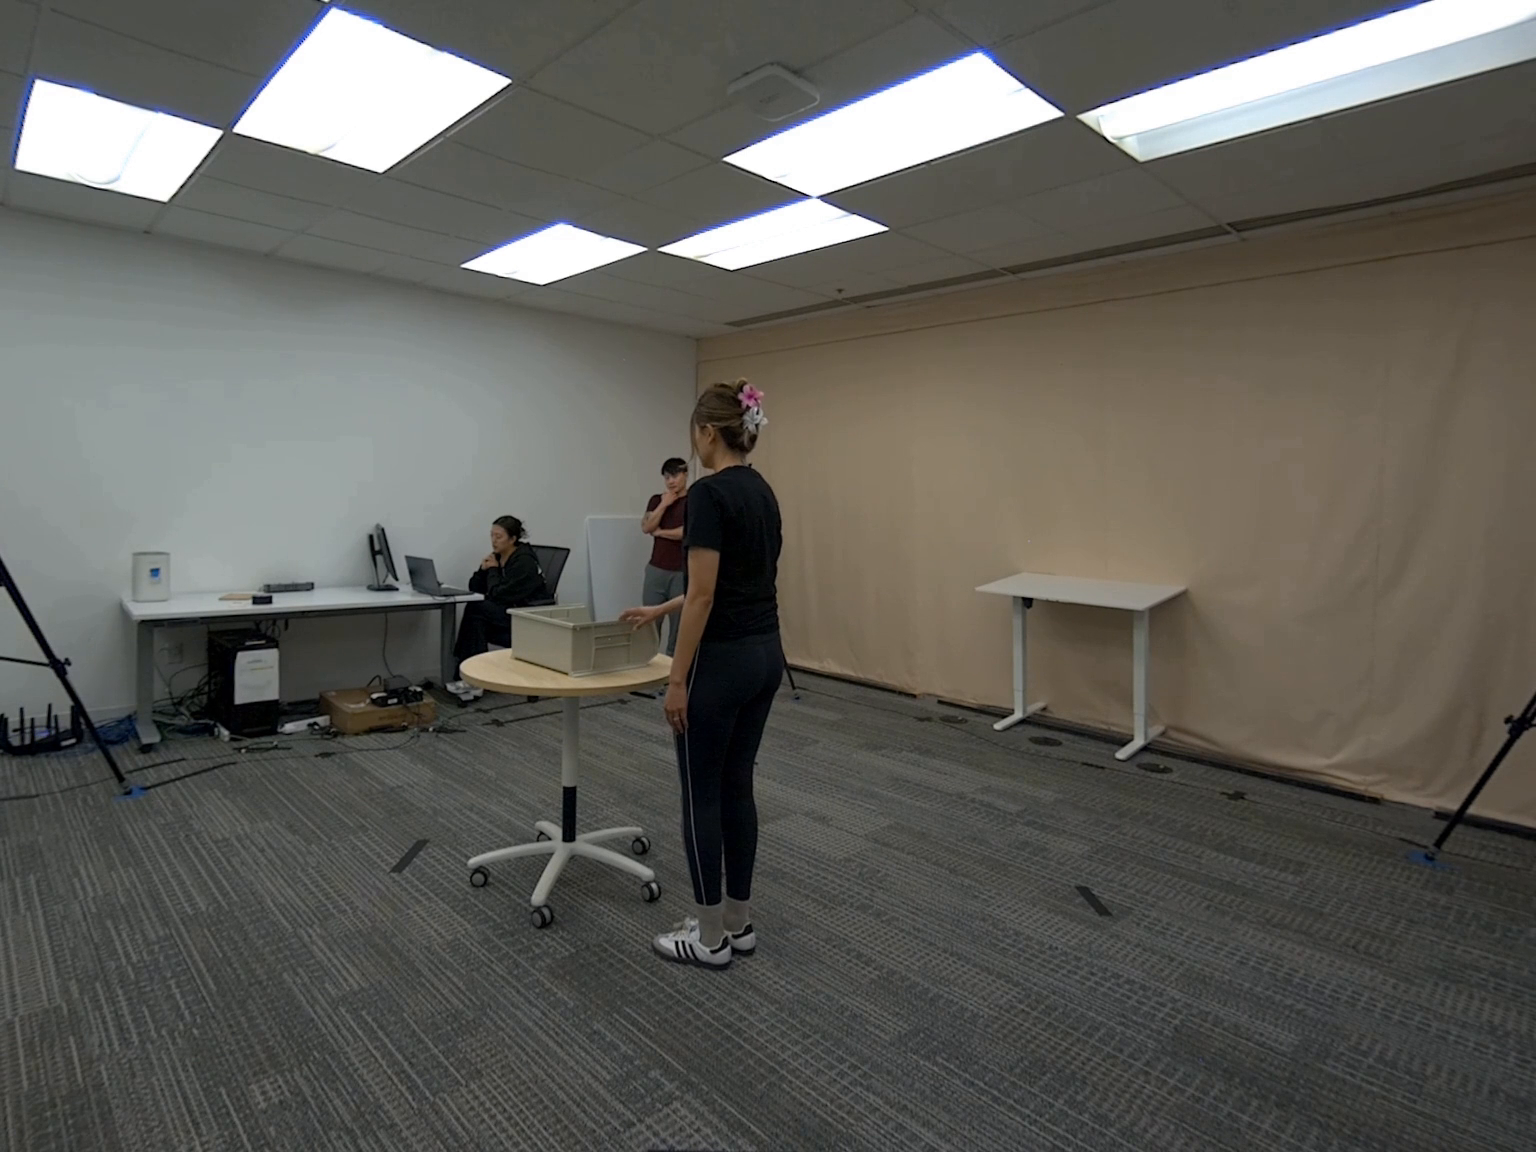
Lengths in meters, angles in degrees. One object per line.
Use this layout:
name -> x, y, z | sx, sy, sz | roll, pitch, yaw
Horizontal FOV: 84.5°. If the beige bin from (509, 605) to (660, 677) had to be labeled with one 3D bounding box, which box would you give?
beige bin -> -0.672, 0.224, 3.043 | 0.433, 0.188, 0.369 | 7, 9, 44
